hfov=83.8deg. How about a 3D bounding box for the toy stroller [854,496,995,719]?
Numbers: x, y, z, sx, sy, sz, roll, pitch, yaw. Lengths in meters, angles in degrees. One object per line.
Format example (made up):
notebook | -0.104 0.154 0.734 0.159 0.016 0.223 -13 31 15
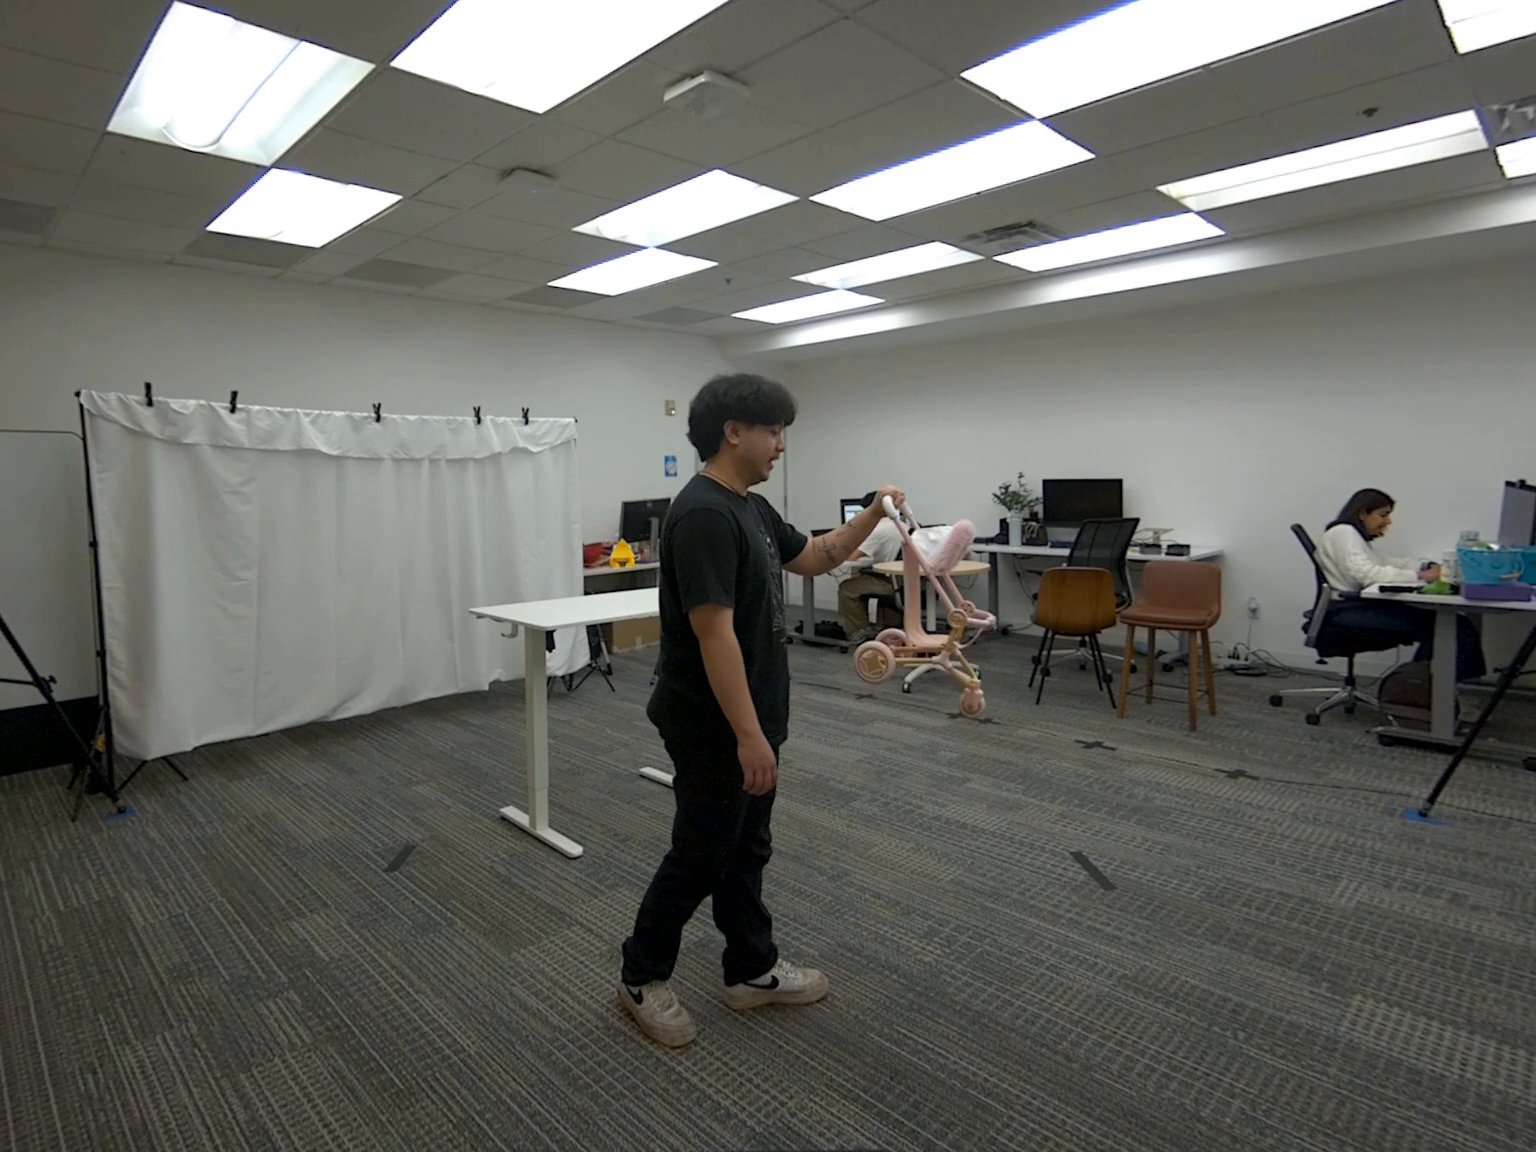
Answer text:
toy stroller | 0.433 0.082 2.239 0.350 0.532 0.275 11 7 24
